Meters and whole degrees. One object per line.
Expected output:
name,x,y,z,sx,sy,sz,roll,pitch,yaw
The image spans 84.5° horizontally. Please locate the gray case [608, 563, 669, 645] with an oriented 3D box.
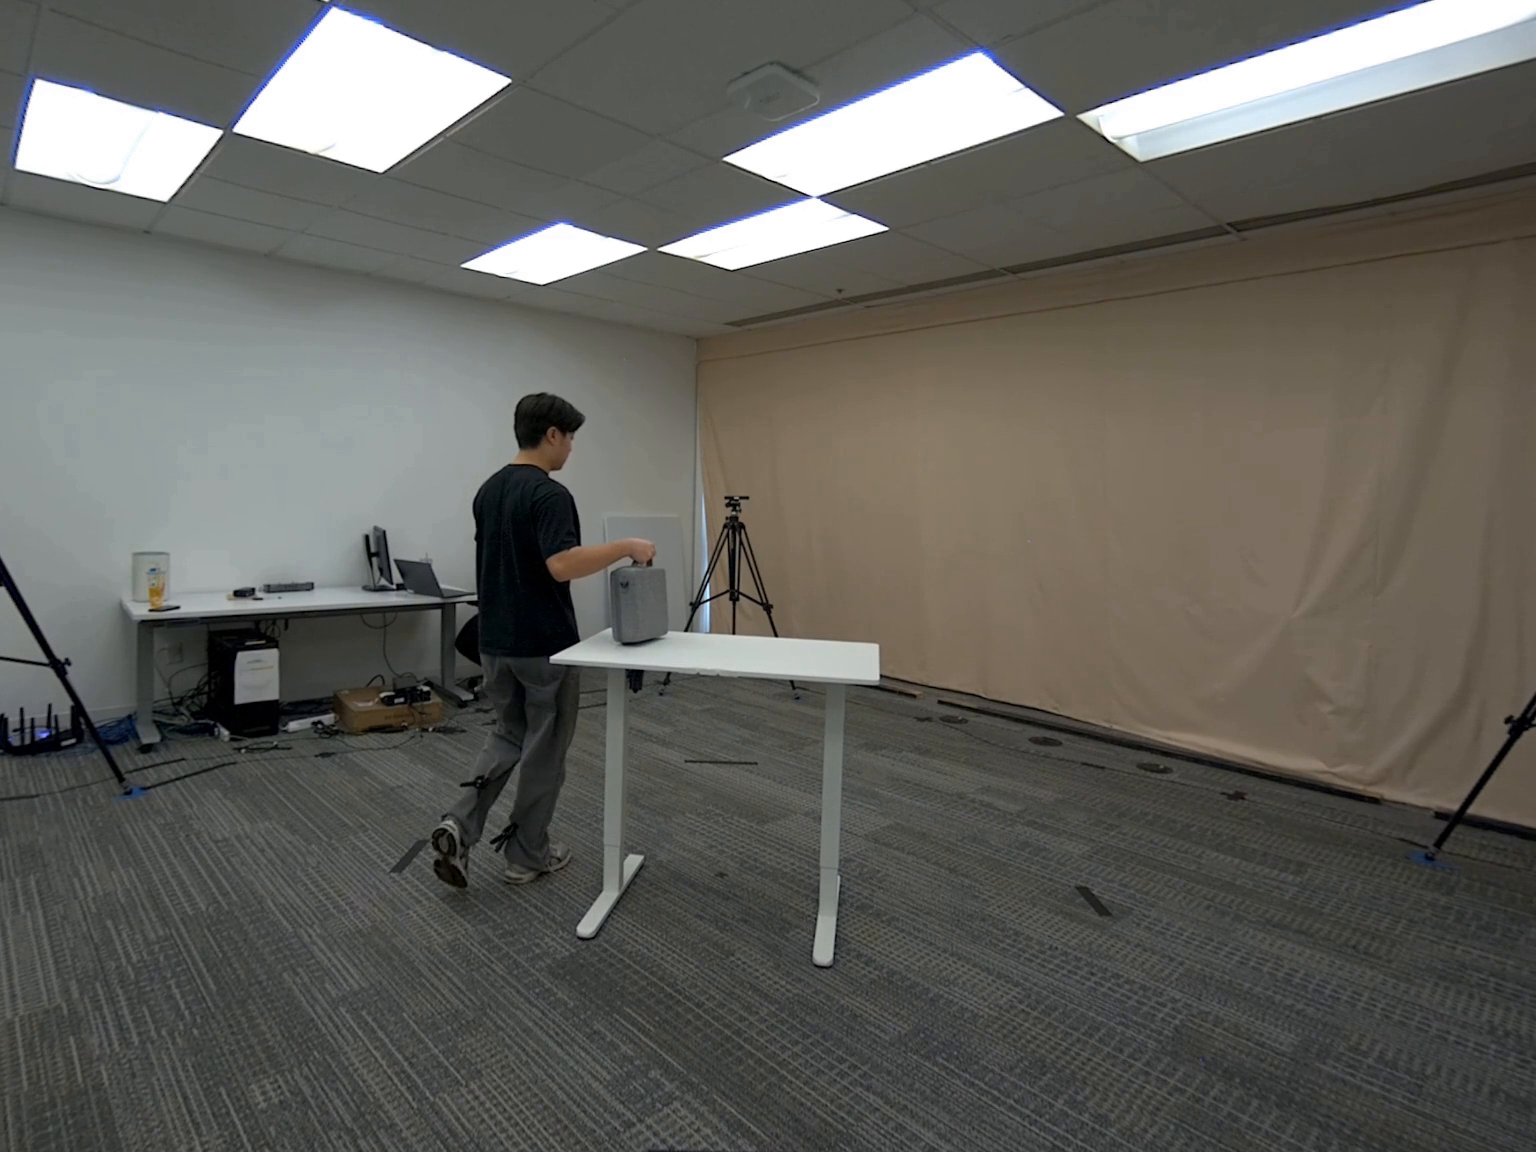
gray case,-0.448,0.084,2.915,0.105,0.287,0.259,0,1,21
